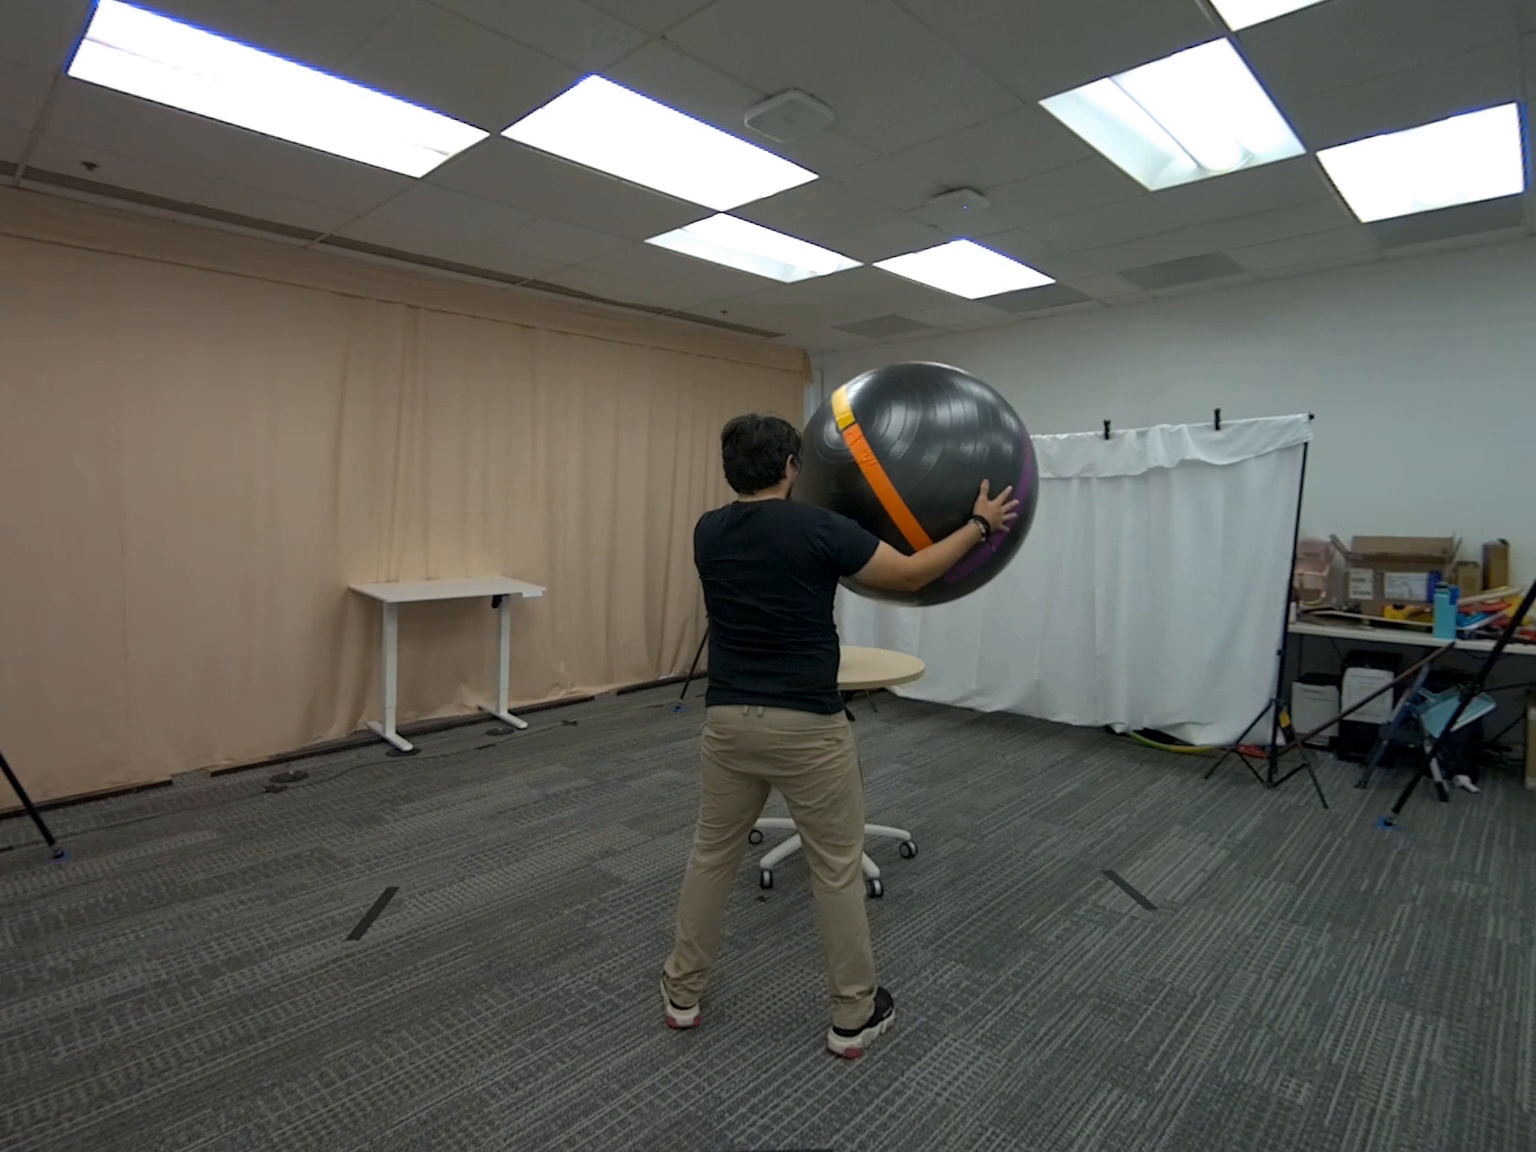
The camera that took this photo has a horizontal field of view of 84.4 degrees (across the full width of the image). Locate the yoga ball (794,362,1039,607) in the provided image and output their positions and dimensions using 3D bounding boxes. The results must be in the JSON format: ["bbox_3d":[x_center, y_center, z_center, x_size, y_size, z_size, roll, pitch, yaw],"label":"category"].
[{"bbox_3d":[0.453,-0.273,2.638,0.757,0.756,0.760,0,4,-2],"label":"yoga ball"}]
